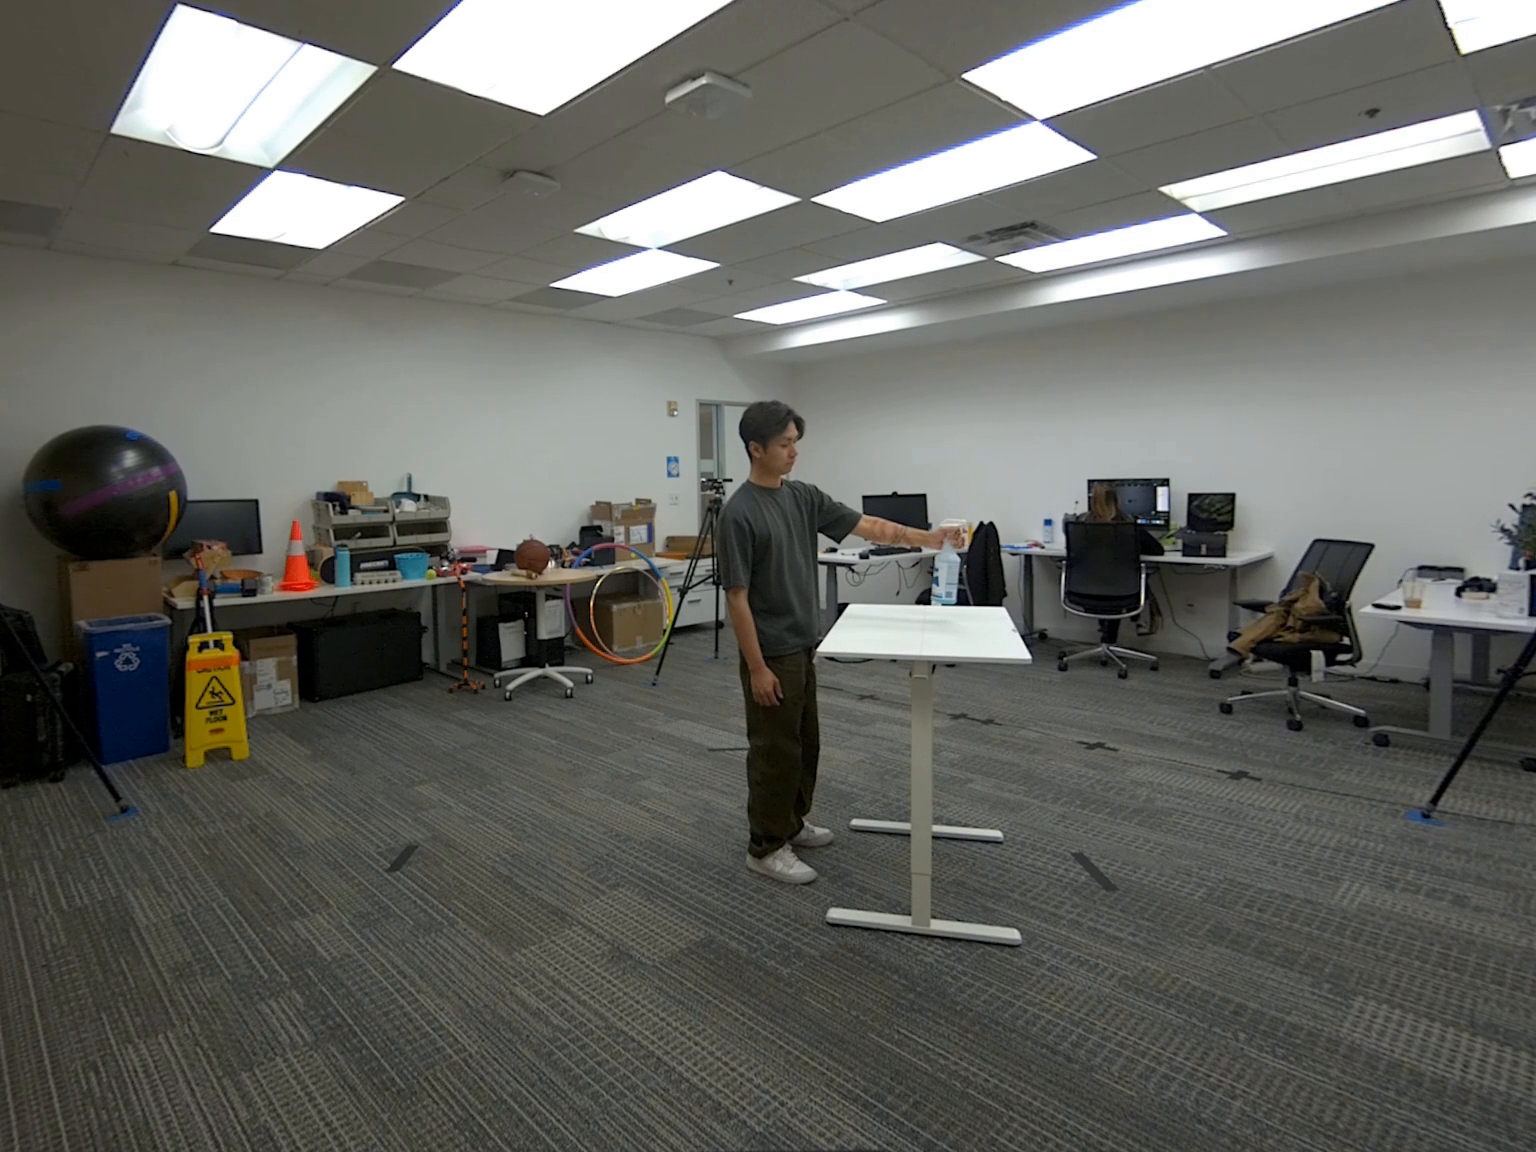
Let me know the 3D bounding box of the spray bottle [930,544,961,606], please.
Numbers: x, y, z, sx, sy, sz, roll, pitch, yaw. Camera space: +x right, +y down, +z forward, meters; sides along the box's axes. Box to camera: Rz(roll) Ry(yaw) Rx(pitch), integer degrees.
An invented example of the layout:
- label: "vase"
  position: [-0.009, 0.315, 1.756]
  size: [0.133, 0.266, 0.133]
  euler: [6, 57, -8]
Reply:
- label: "spray bottle"
  position: [0.631, -0.052, 2.999]
  size: [0.084, 0.296, 0.093]
  euler: [0, 8, -37]
